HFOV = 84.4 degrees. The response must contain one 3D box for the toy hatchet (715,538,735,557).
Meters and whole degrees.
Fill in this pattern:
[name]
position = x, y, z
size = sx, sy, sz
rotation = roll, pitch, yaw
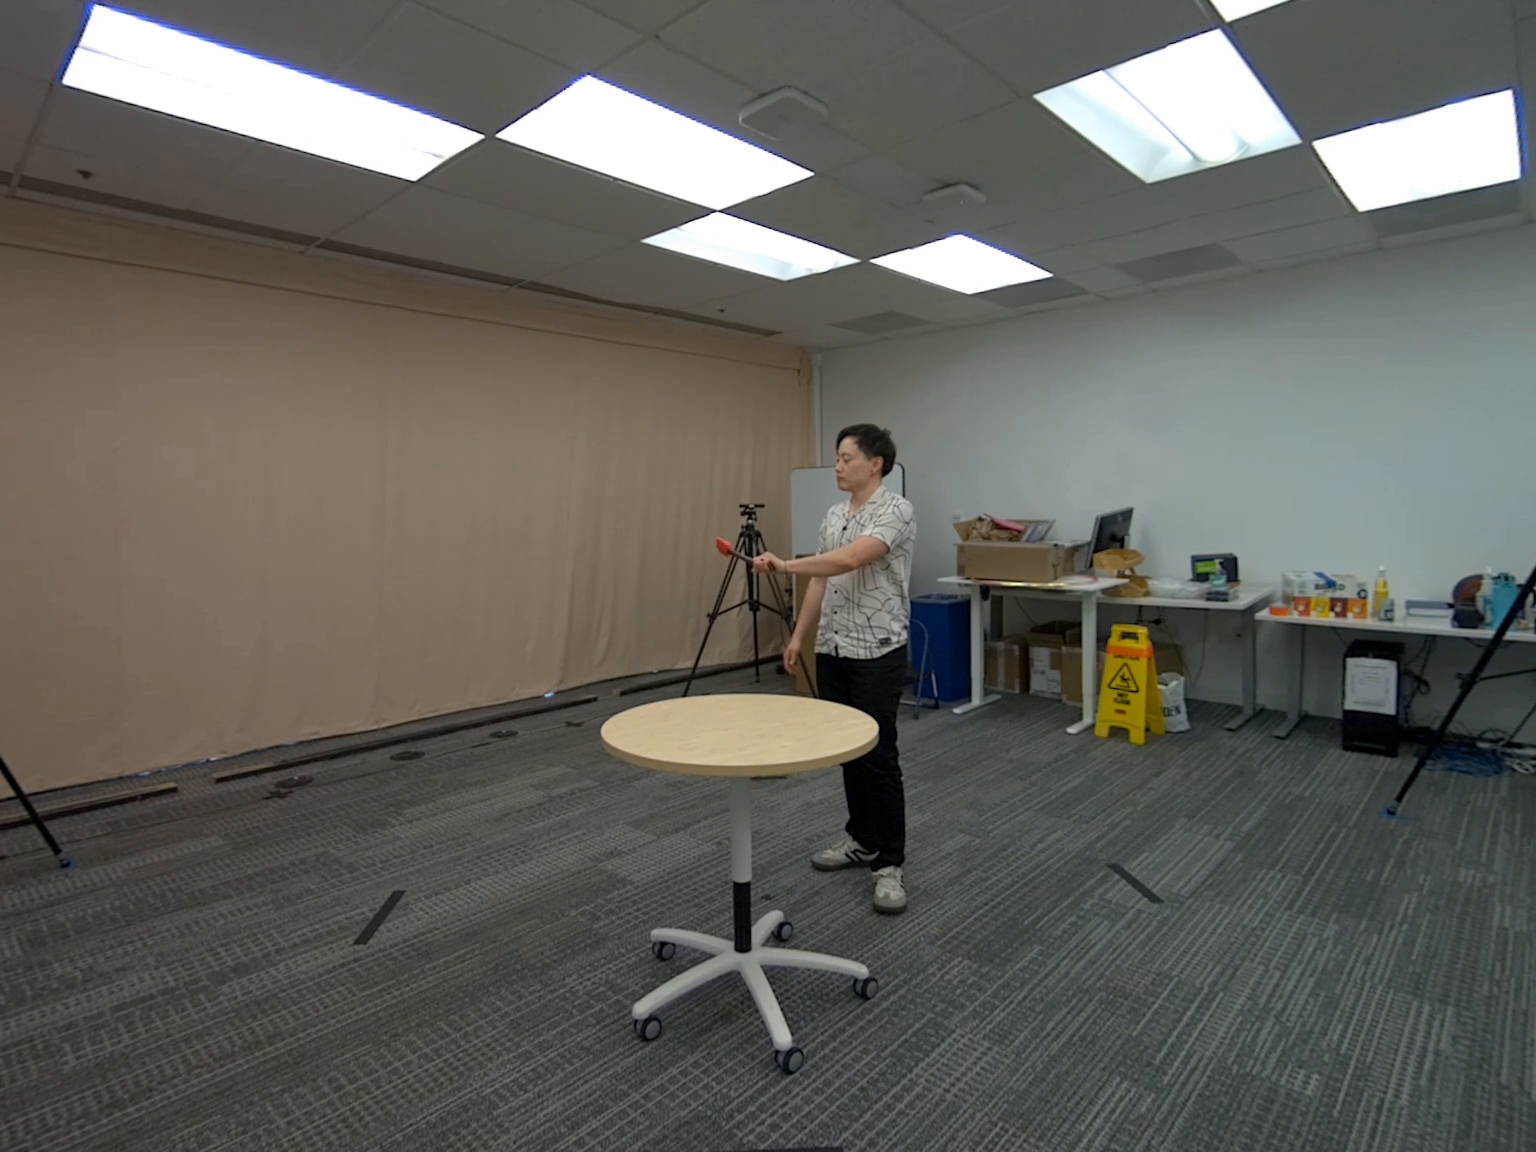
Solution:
[toy hatchet]
position = -0.101, -0.084, 3.058
size = 0.280, 0.029, 0.127
rotation = 13, -31, 46
